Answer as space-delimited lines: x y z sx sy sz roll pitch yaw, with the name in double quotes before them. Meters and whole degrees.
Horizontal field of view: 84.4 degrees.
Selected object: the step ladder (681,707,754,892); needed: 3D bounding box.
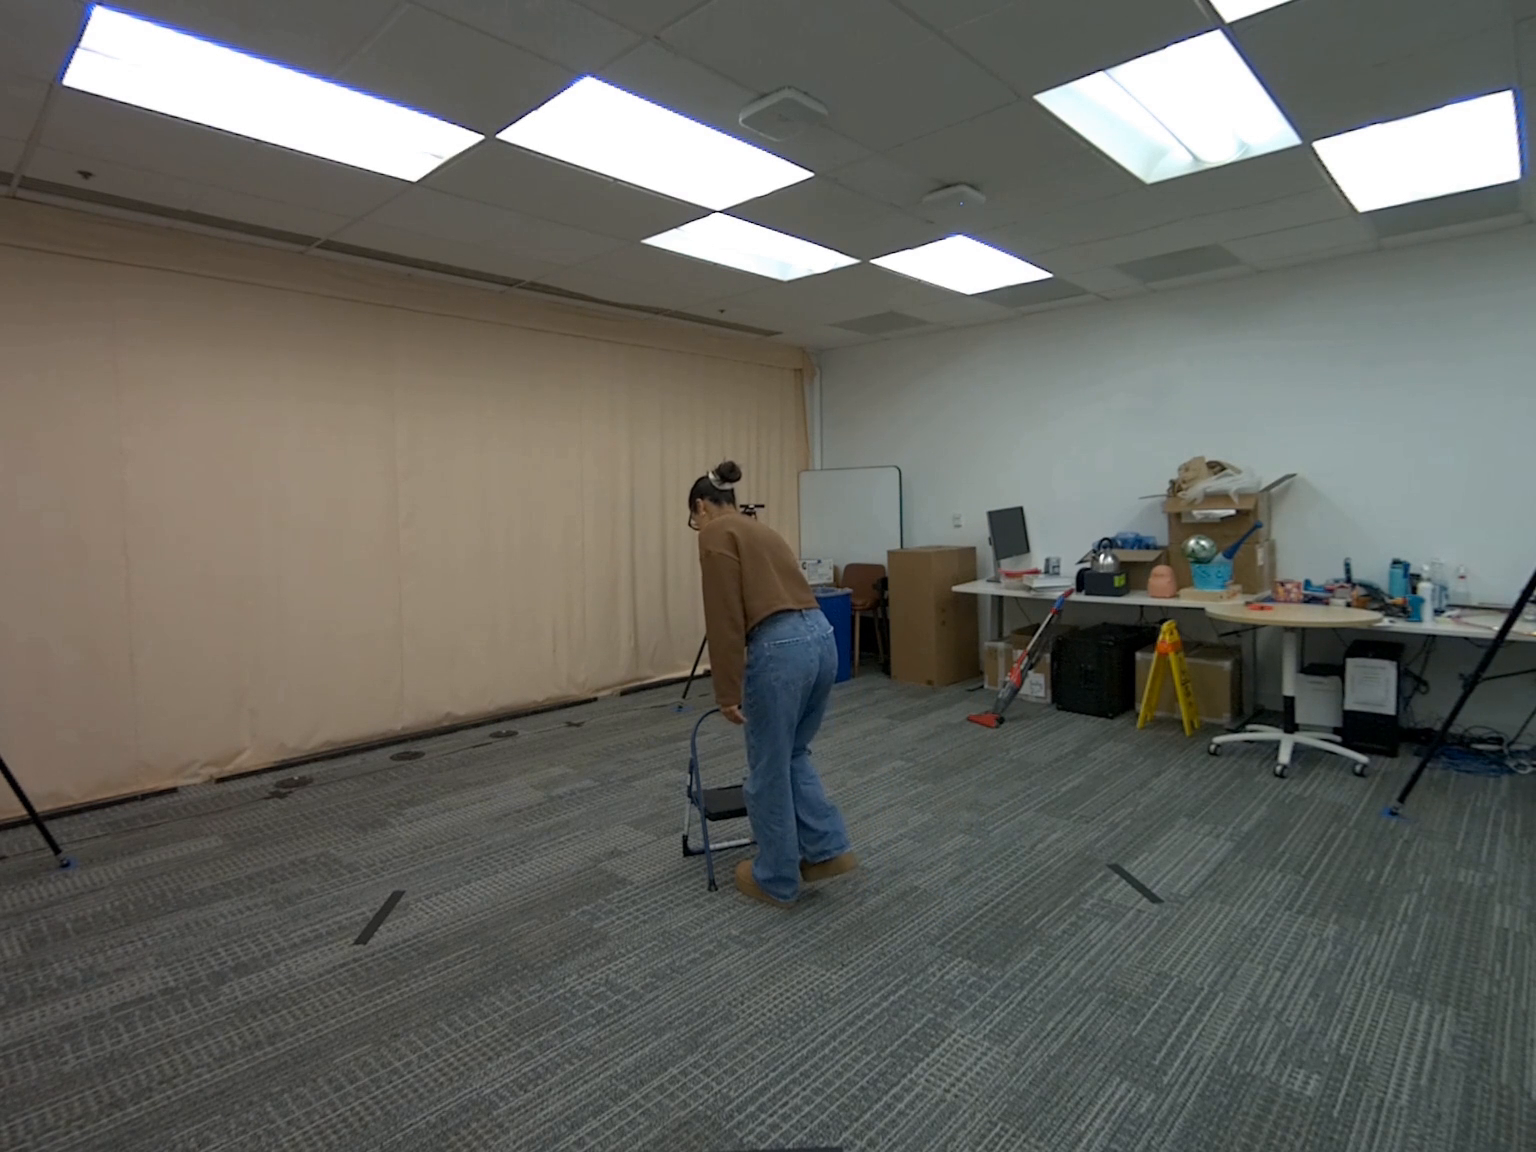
"step ladder" -0.086 0.814 3.253 0.421 0.604 0.358 -3 4 -23
